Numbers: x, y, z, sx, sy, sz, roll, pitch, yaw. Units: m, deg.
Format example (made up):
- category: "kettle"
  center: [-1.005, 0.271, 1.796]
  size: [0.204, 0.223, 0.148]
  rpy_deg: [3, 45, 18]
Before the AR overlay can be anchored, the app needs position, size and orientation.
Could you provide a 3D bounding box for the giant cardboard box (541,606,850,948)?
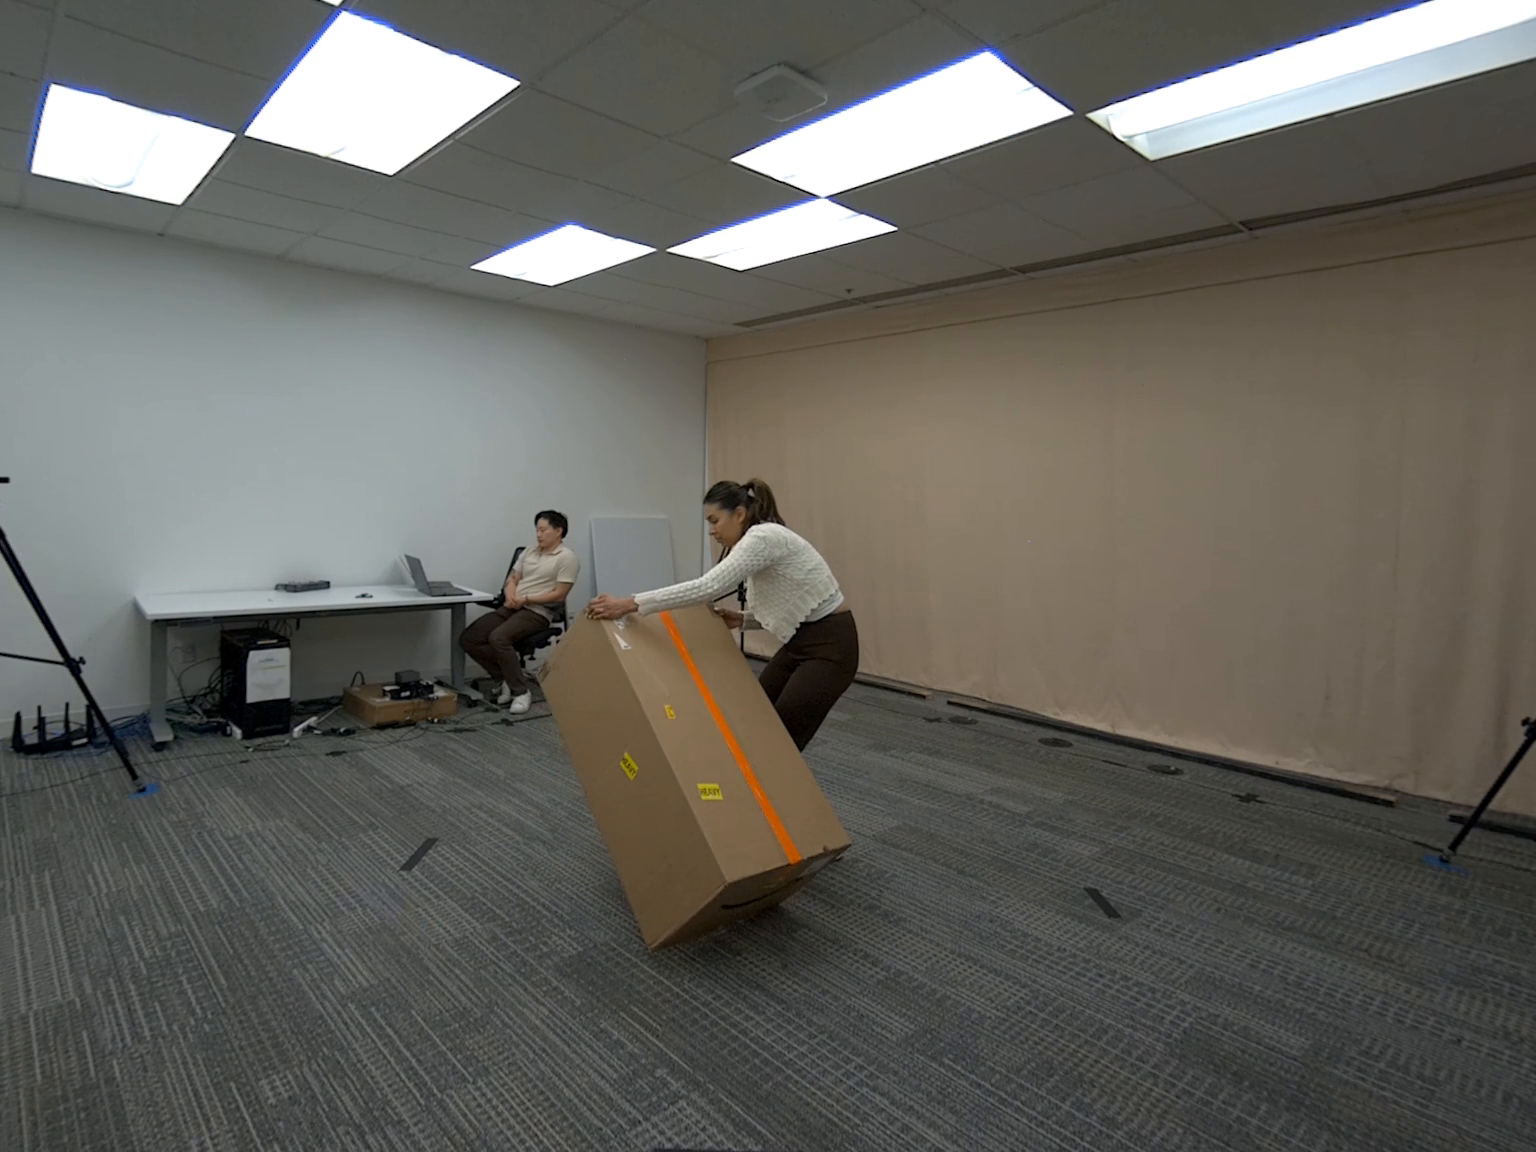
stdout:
- category: "giant cardboard box"
  center: [-0.283, 0.608, 2.844]
  size: [0.563, 0.425, 1.054]
  rpy_deg: [5, 44, -47]
